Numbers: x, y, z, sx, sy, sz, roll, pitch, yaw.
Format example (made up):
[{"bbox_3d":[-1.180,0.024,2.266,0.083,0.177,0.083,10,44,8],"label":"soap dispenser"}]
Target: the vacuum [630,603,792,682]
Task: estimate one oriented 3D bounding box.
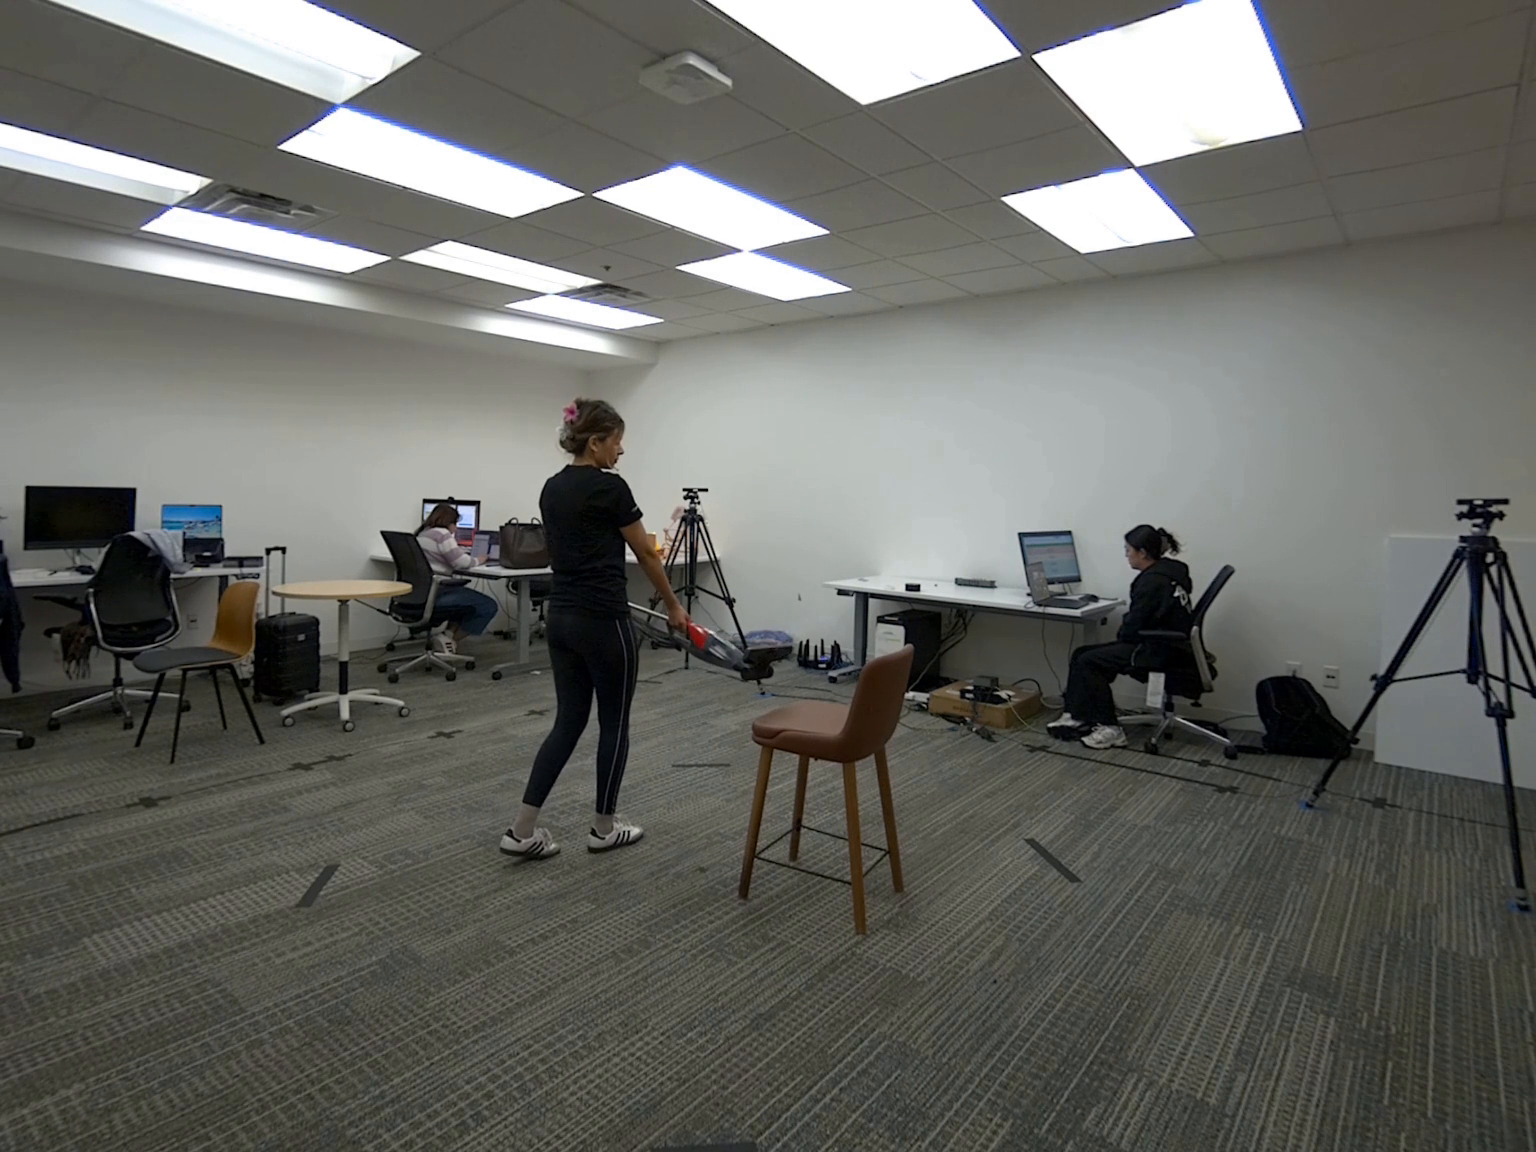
[{"bbox_3d":[-0.402,0.229,3.437,1.089,0.143,0.245,14,10,41],"label":"vacuum"}]
